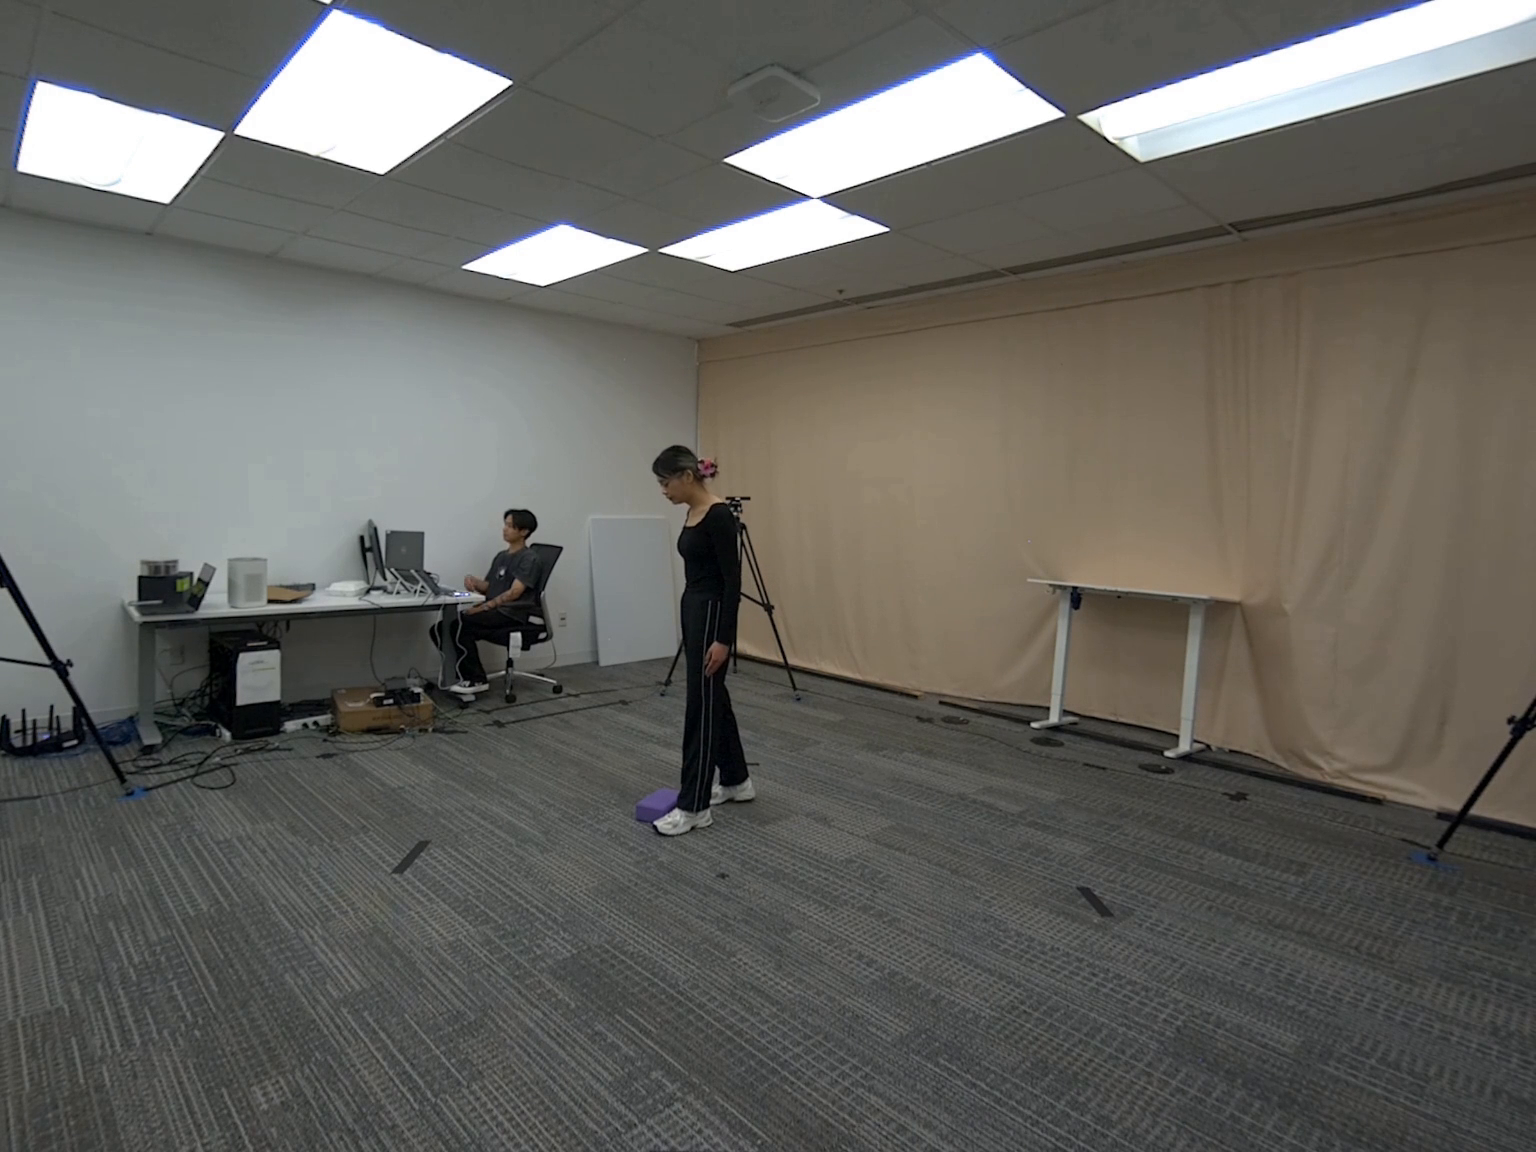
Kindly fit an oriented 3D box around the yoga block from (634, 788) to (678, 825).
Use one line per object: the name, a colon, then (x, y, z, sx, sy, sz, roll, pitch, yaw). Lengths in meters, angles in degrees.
yoga block: (-0.468, 1.008, 3.688, 0.151, 0.076, 0.226, 5, 6, 20)
